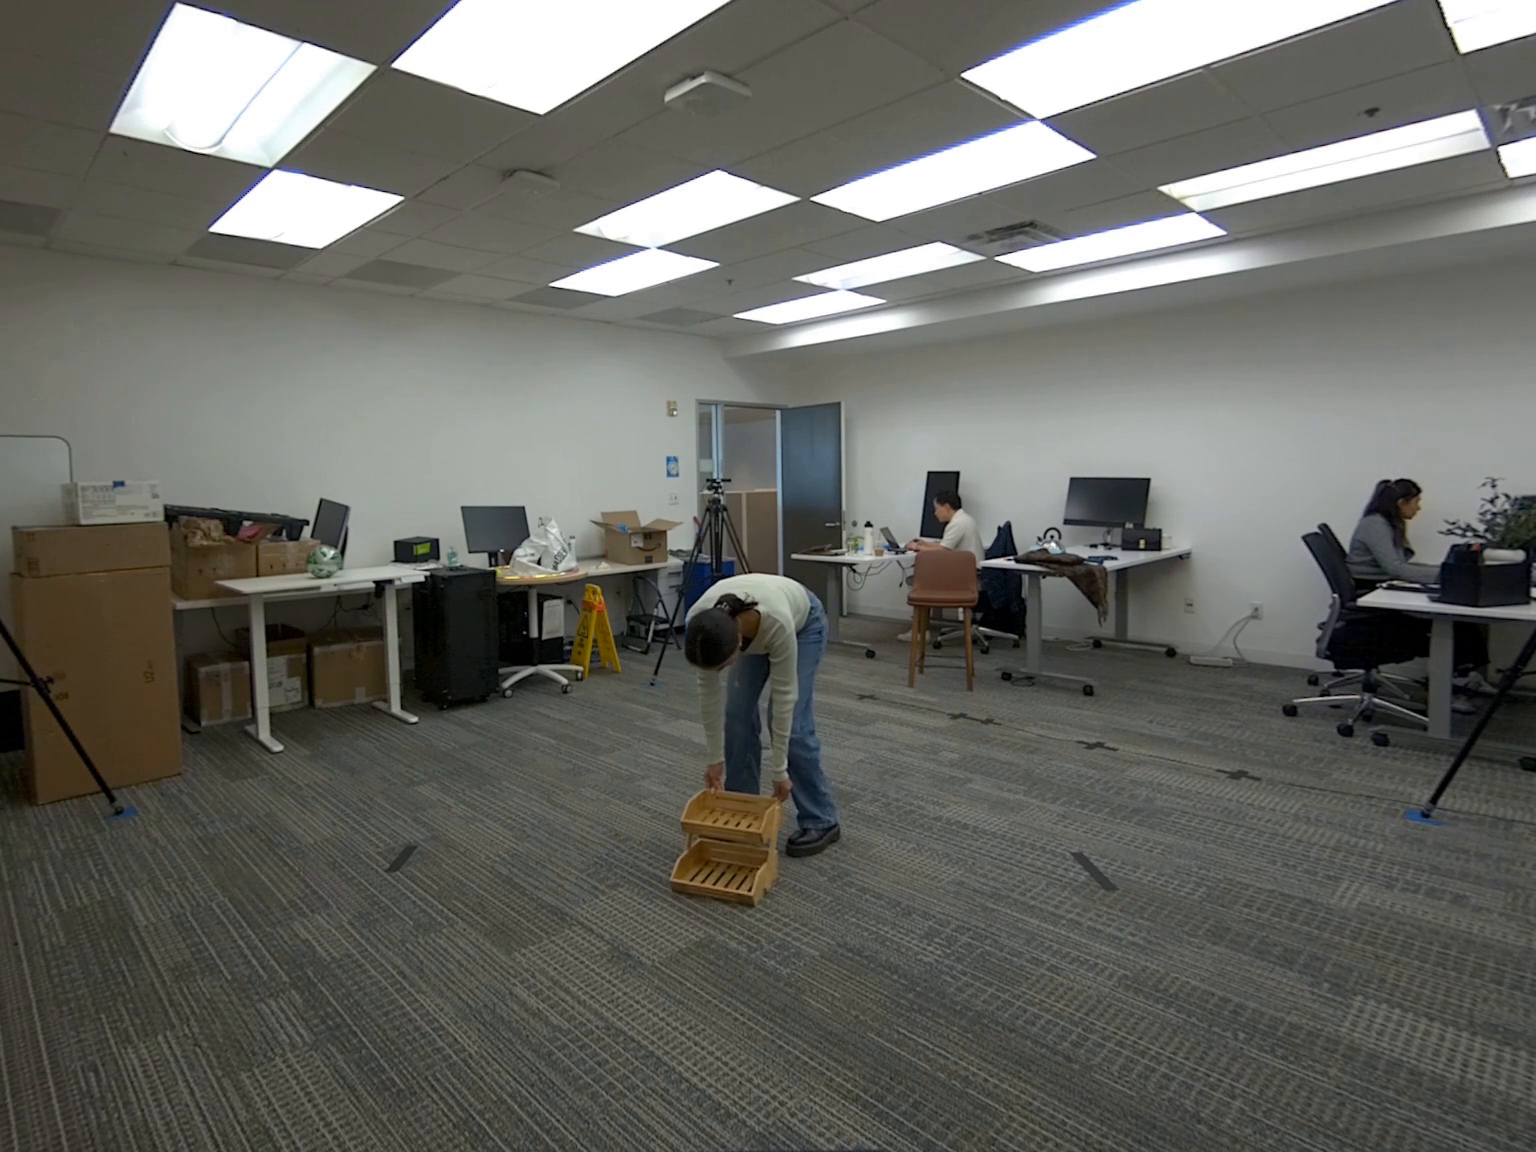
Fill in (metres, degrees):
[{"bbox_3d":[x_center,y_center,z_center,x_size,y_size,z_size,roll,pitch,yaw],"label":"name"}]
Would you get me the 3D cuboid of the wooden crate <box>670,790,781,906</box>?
[{"bbox_3d":[-0.139,0.928,2.959,0.331,0.272,0.297,1,5,21],"label":"wooden crate"}]
